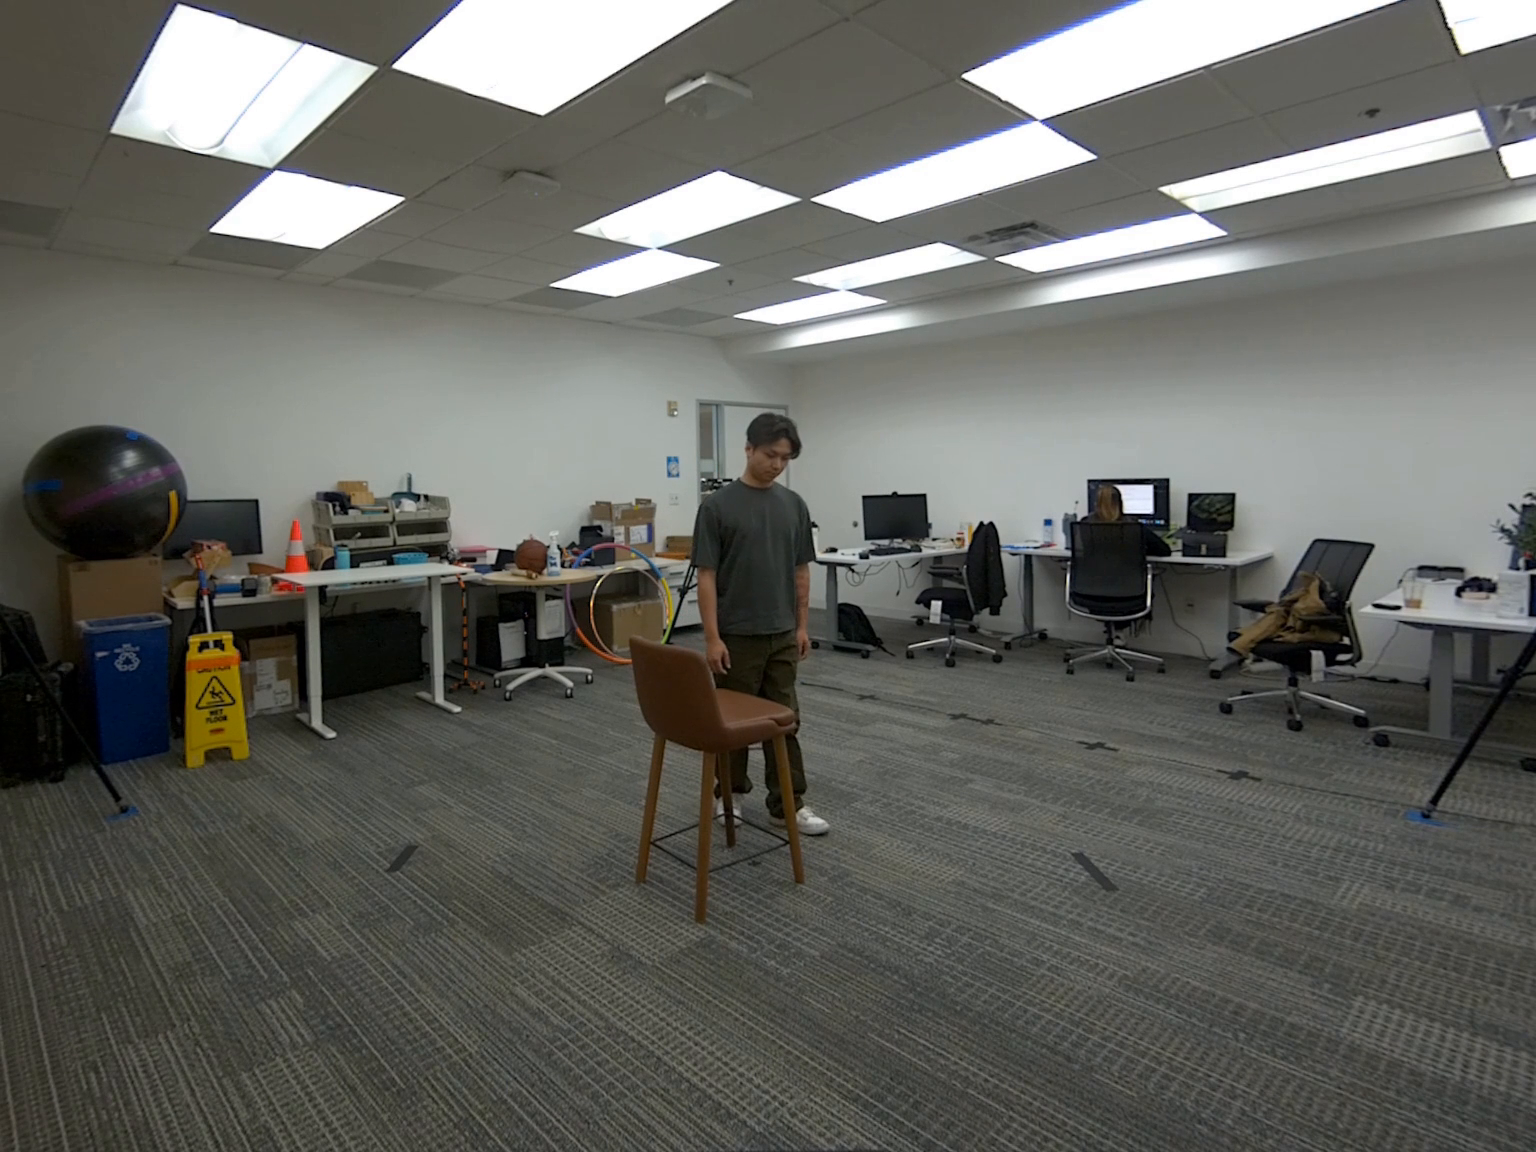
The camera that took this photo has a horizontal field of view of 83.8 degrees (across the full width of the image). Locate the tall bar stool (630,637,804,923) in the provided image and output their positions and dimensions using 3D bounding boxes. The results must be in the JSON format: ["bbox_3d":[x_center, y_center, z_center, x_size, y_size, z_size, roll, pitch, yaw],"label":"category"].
[{"bbox_3d":[-0.185,0.630,2.945,0.456,0.885,0.470,-7,7,-40],"label":"tall bar stool"}]
